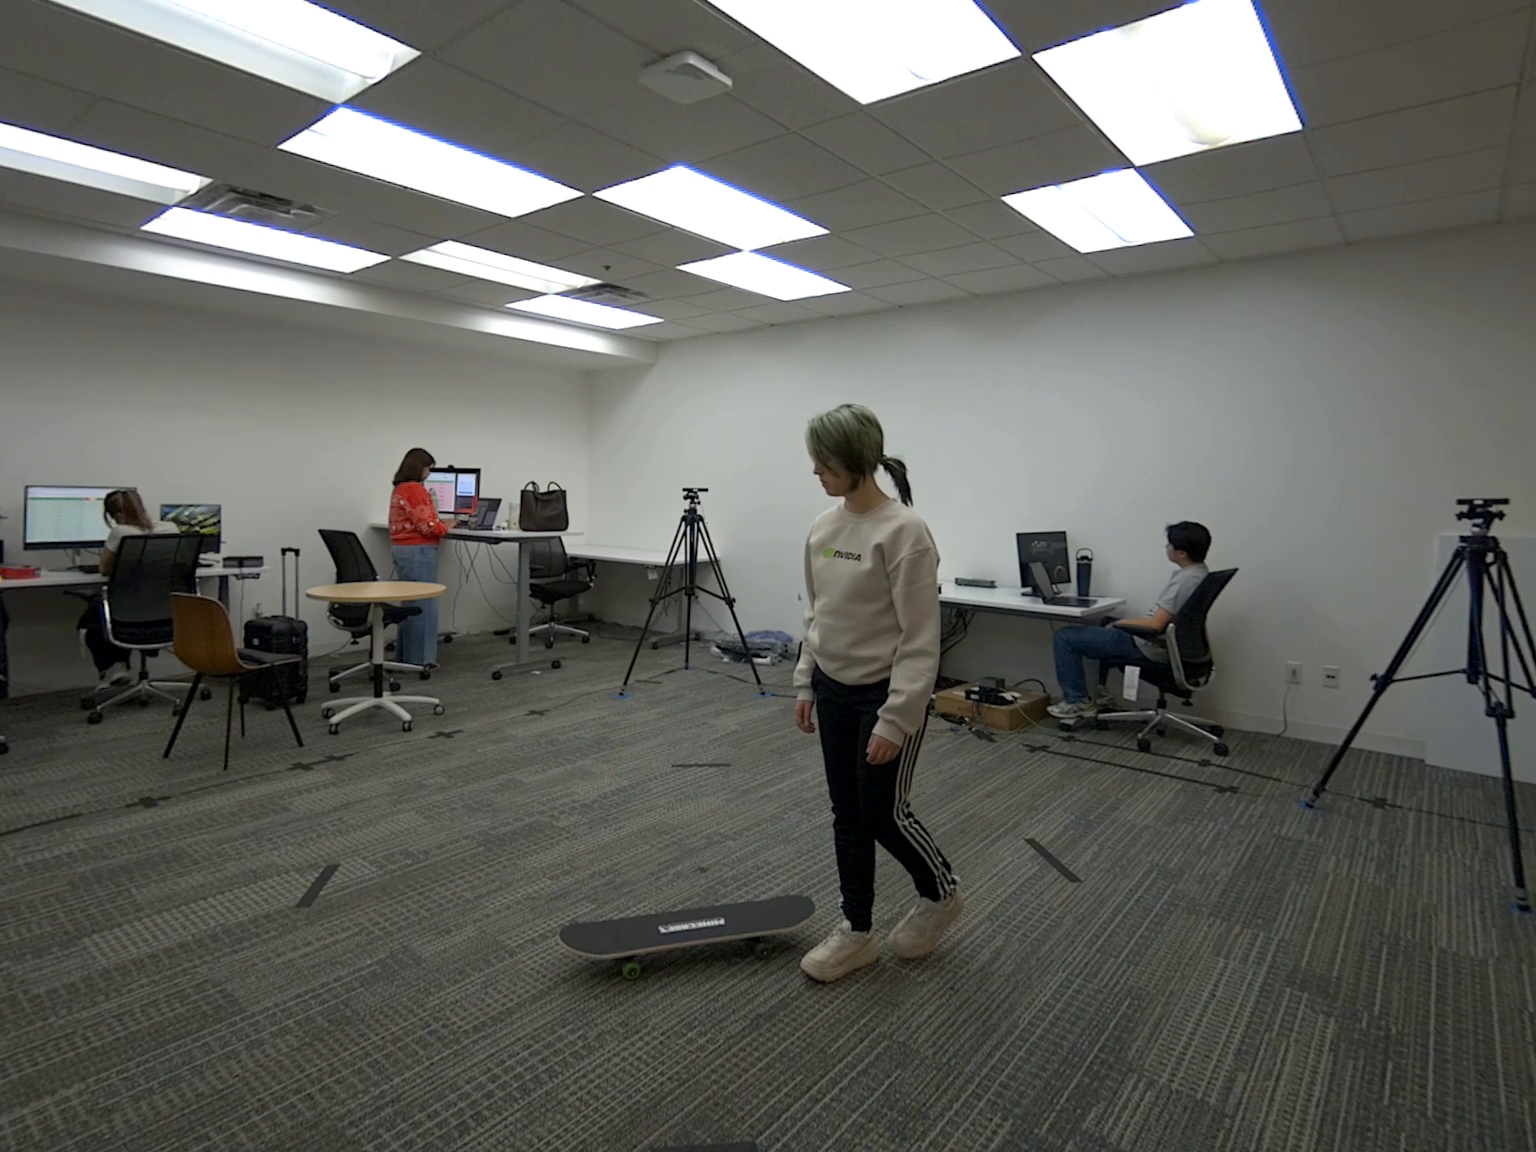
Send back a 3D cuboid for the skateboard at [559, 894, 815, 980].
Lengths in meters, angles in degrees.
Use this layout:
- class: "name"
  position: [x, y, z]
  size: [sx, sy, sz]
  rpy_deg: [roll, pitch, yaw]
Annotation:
- class: "skateboard"
  position: [-0.232, 1.071, 2.528]
  size: [0.771, 0.110, 0.197]
  rpy_deg: [-1, 5, -17]
